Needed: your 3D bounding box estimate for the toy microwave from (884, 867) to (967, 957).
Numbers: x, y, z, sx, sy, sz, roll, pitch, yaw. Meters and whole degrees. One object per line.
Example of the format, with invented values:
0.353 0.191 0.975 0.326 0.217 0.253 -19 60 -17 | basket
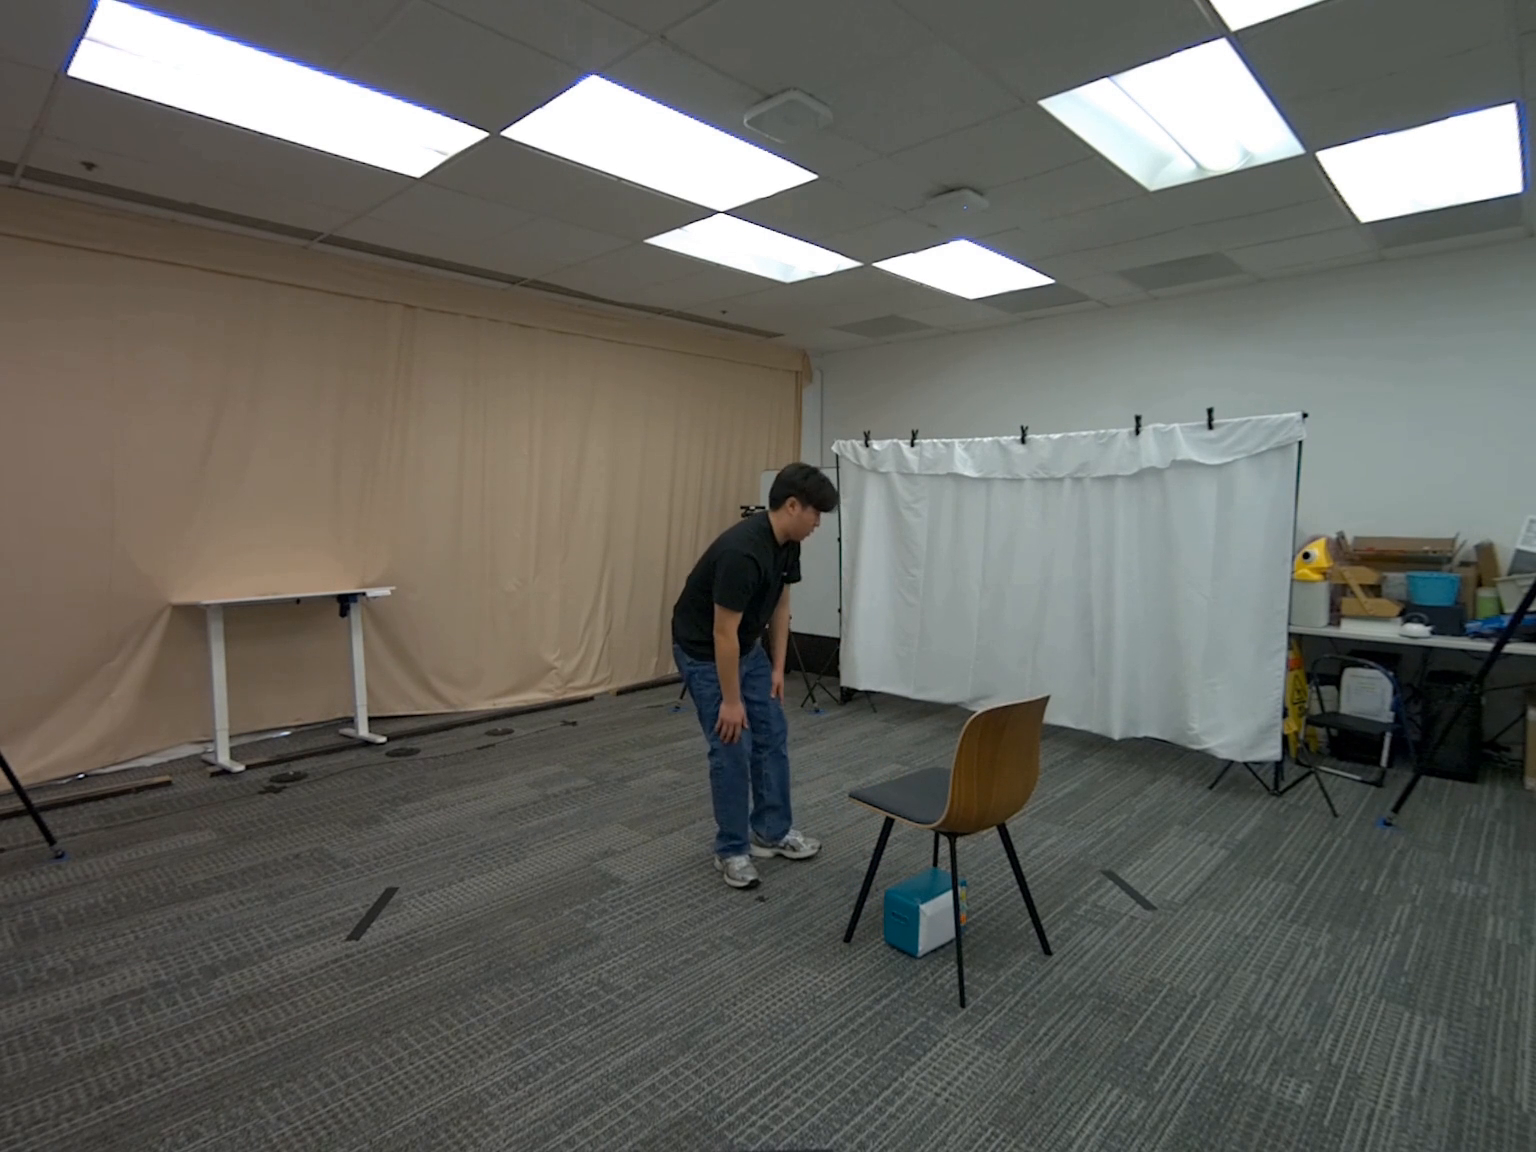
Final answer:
0.524 1.077 2.693 0.277 0.184 0.157 -4 5 -40 | toy microwave
